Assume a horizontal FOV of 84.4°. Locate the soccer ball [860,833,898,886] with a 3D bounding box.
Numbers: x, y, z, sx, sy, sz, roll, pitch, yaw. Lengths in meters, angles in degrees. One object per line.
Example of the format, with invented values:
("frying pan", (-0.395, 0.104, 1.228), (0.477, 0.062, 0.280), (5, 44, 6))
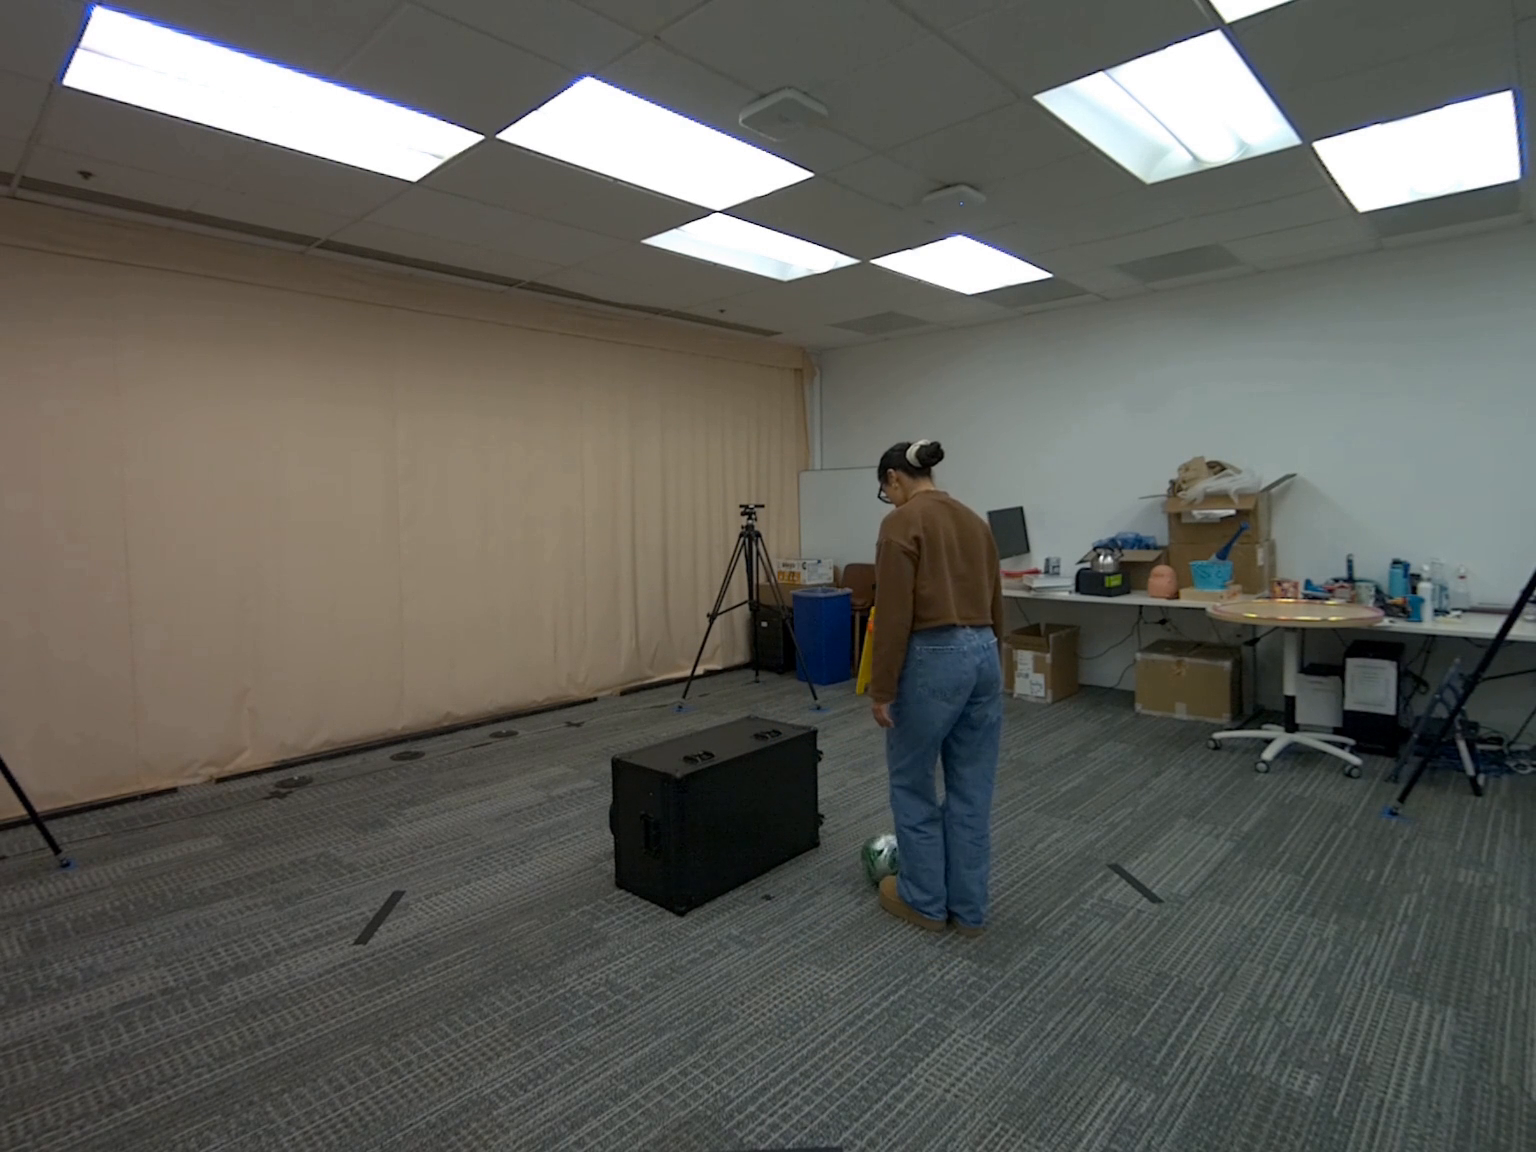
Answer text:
("soccer ball", (0.440, 1.028, 3.064), (0.187, 0.187, 0.188), (-1, 4, -2))
